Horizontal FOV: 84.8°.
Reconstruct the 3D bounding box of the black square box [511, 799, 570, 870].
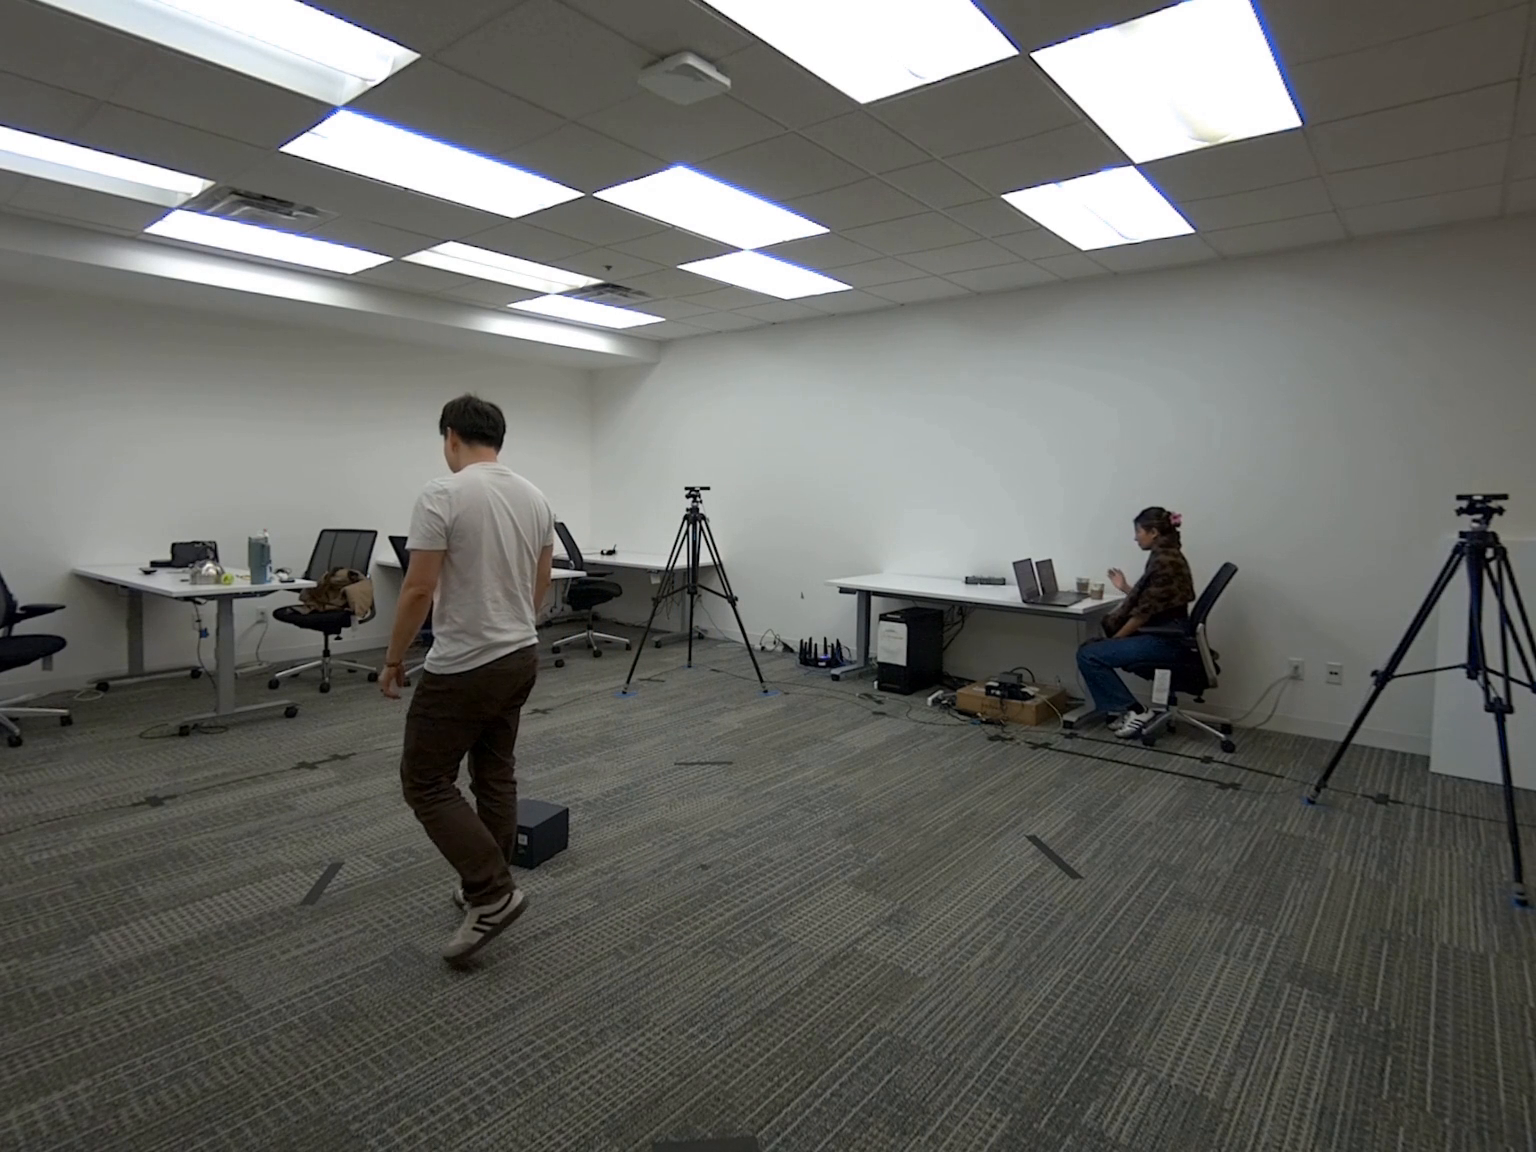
[{"bbox_3d":[-0.918,0.962,3.208,0.222,0.155,0.223,3,5,23],"label":"black square box"}]
